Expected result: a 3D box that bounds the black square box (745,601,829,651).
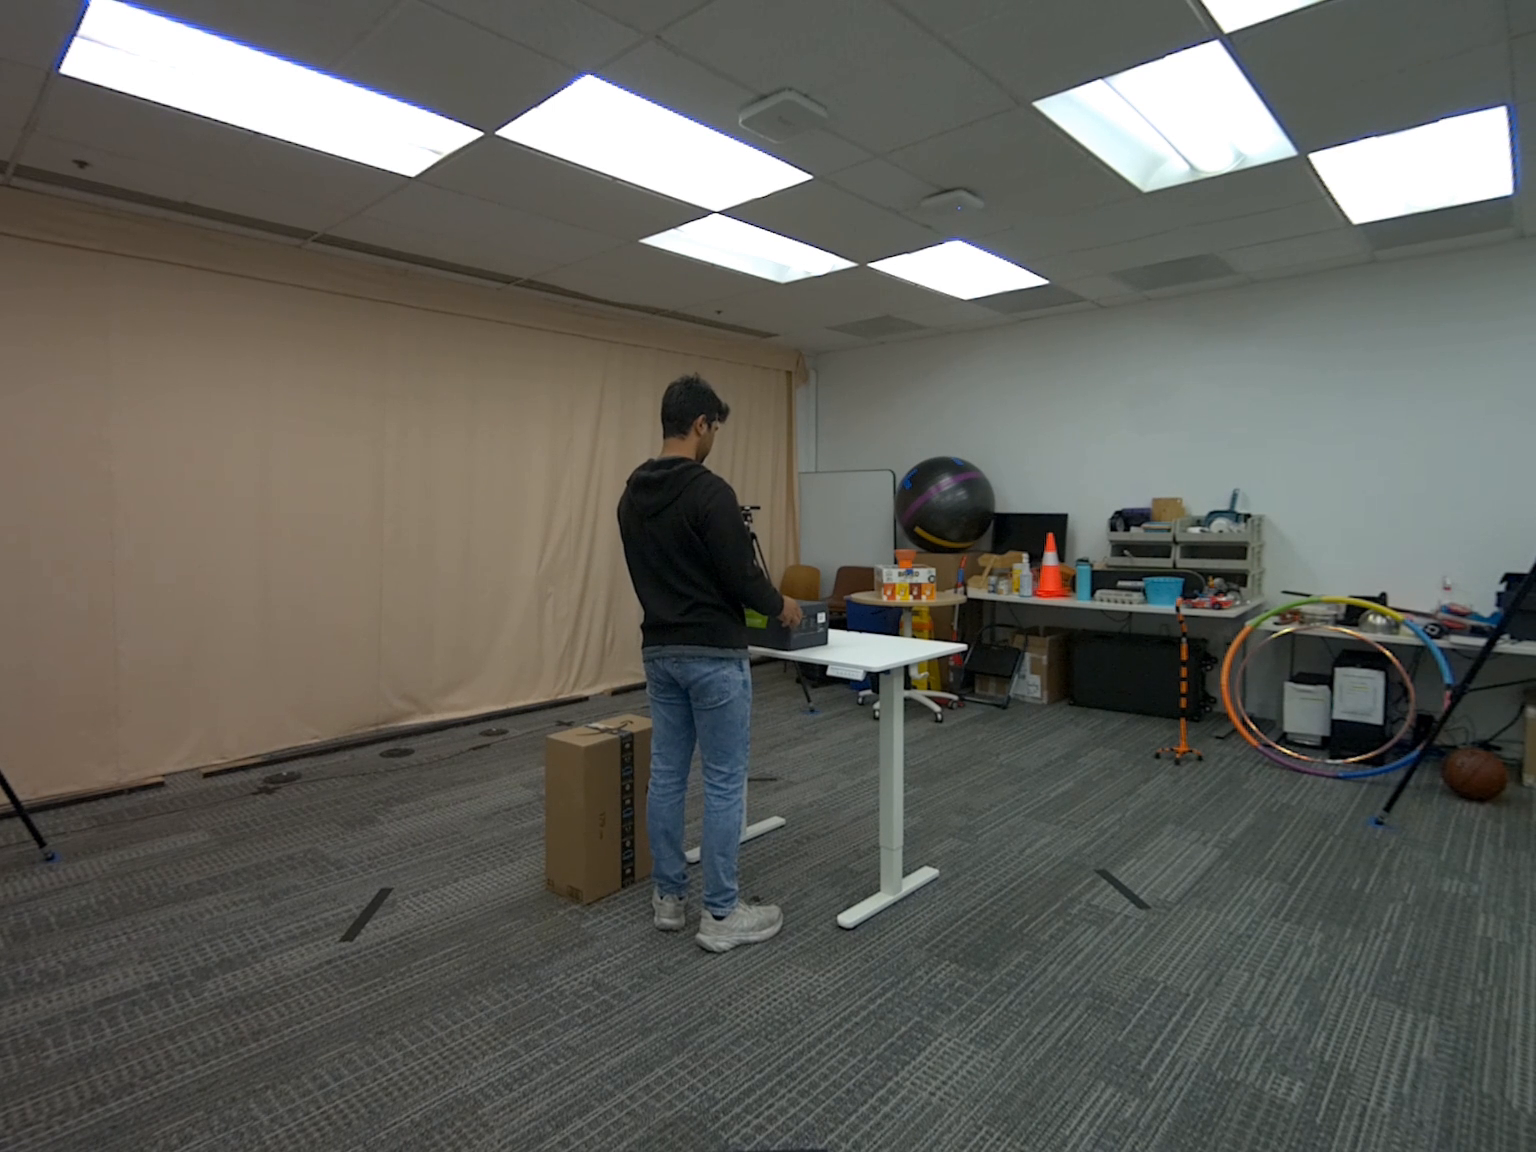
[{"bbox_3d":[0.068,0.170,3.090,0.210,0.155,0.235,-4,6,-44],"label":"black square box"}]
